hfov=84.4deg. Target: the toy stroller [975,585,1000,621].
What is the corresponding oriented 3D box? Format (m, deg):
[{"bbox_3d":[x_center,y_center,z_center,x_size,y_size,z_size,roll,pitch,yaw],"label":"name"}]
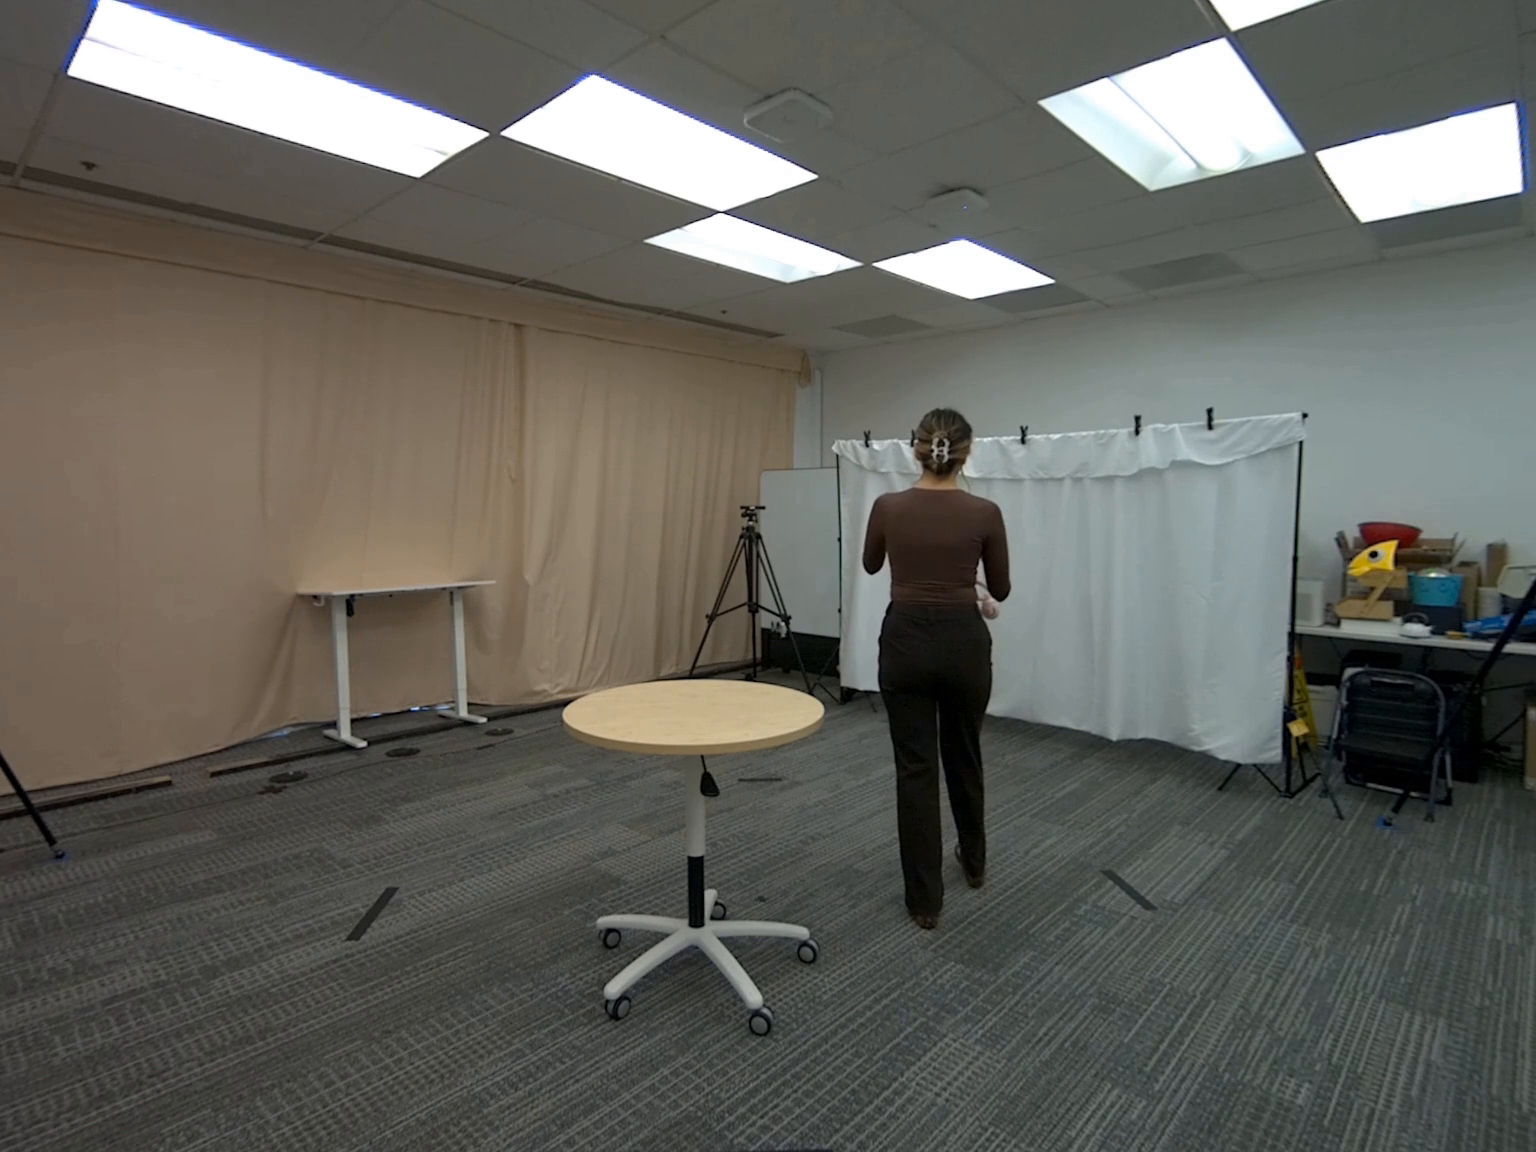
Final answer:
[{"bbox_3d":[0.689,-0.070,3.289,0.350,0.535,0.274,-14,0,43],"label":"toy stroller"}]
